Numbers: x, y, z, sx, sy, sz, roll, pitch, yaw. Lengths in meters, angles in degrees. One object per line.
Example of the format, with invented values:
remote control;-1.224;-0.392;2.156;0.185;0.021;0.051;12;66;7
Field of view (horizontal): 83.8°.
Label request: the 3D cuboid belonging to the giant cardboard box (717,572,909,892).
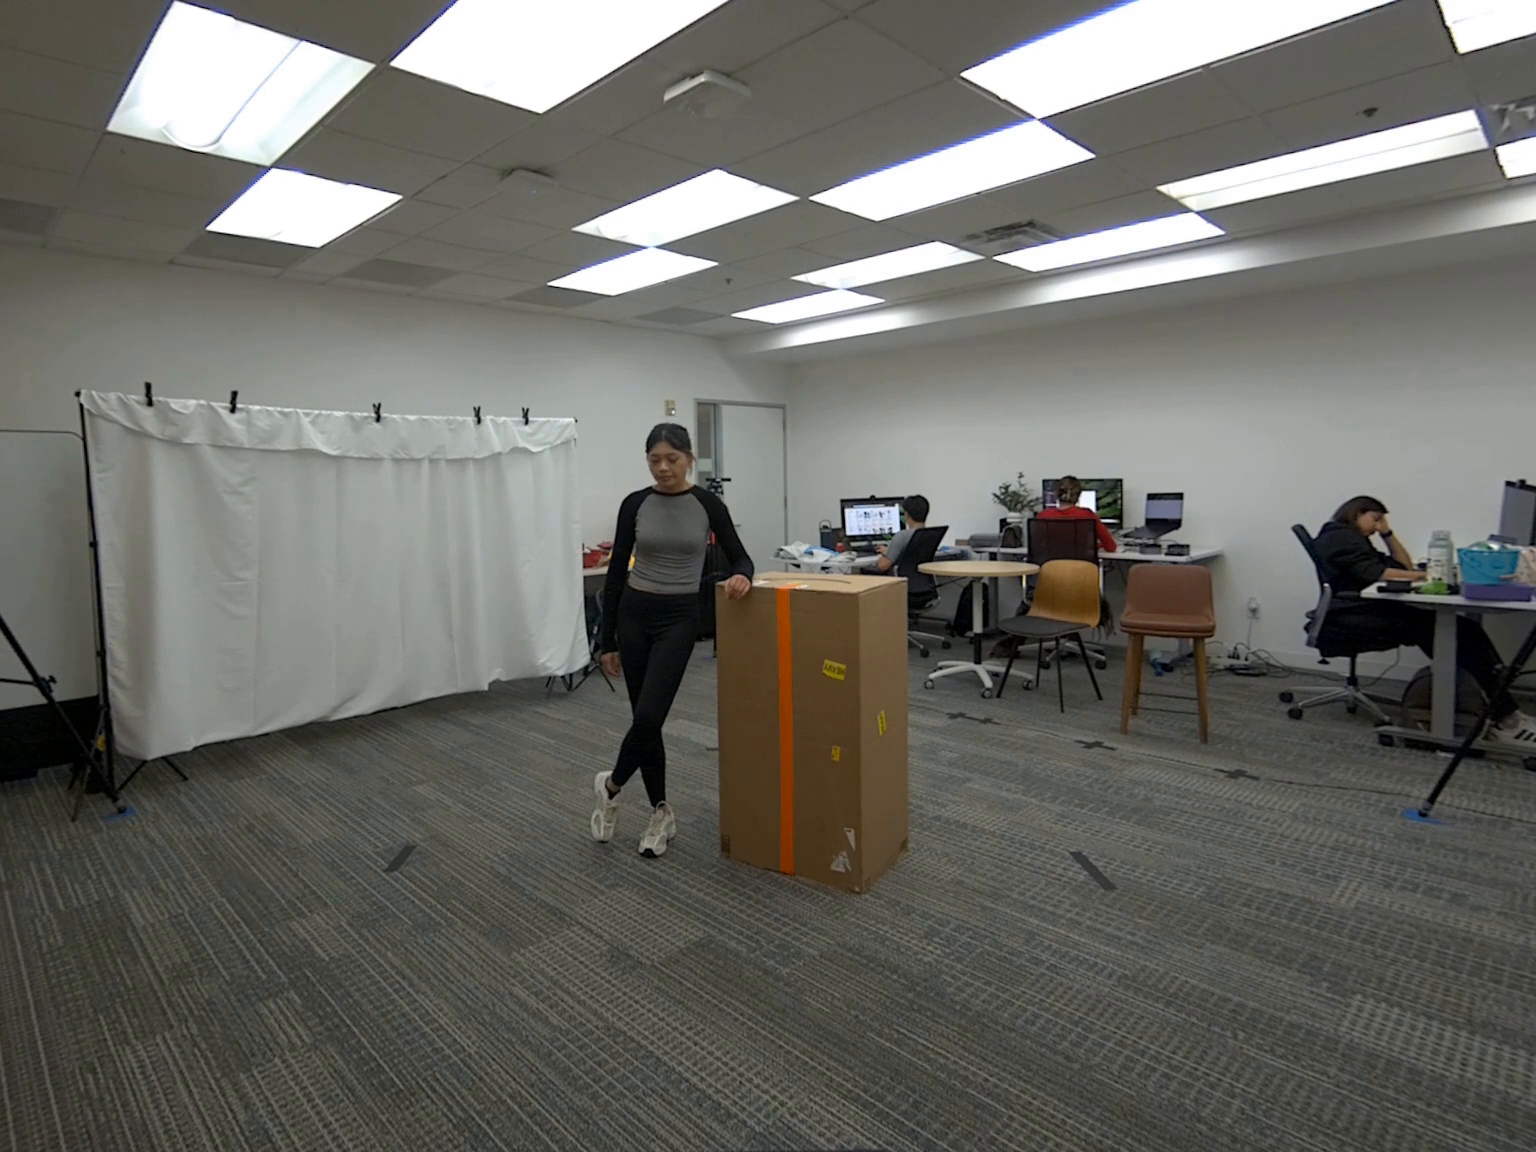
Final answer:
giant cardboard box;0.170;0.523;3.148;0.594;1.022;0.416;2;5;33
